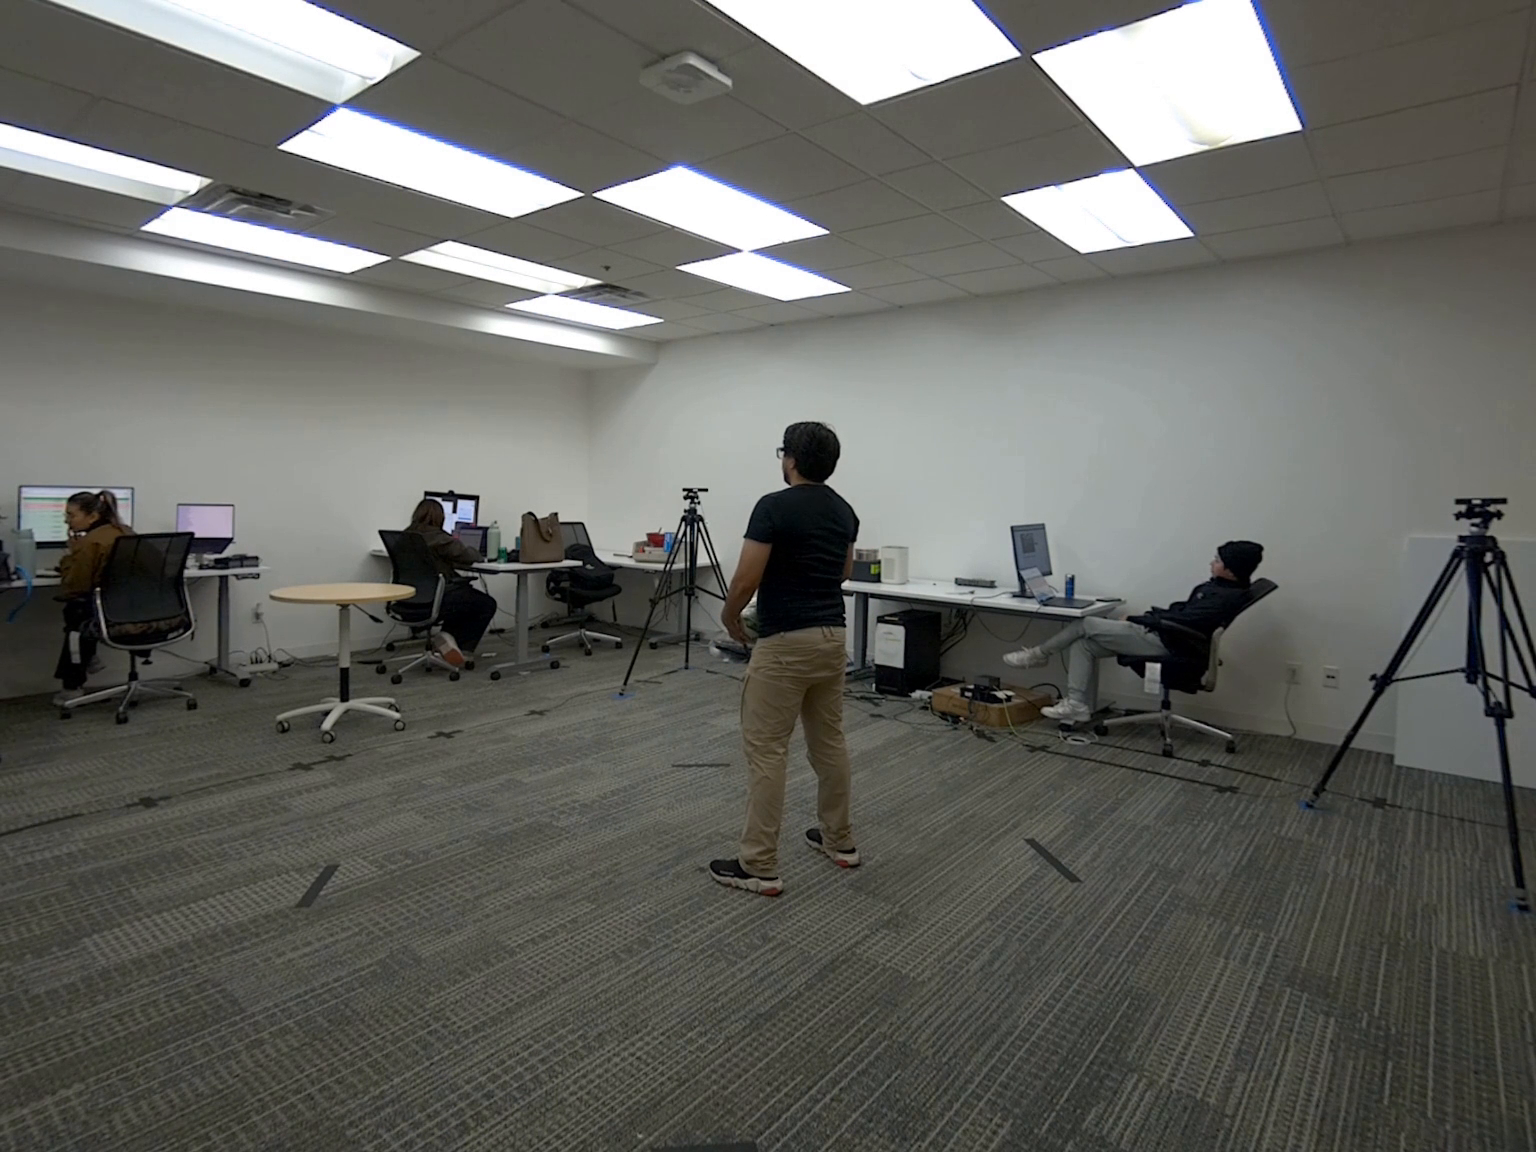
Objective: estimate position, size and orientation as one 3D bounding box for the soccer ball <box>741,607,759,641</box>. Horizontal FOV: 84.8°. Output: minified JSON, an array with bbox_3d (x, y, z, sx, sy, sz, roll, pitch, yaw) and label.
[{"bbox_3d":[-0.051,0.170,3.345,0.187,0.187,0.188,1,4,-2],"label":"soccer ball"}]
